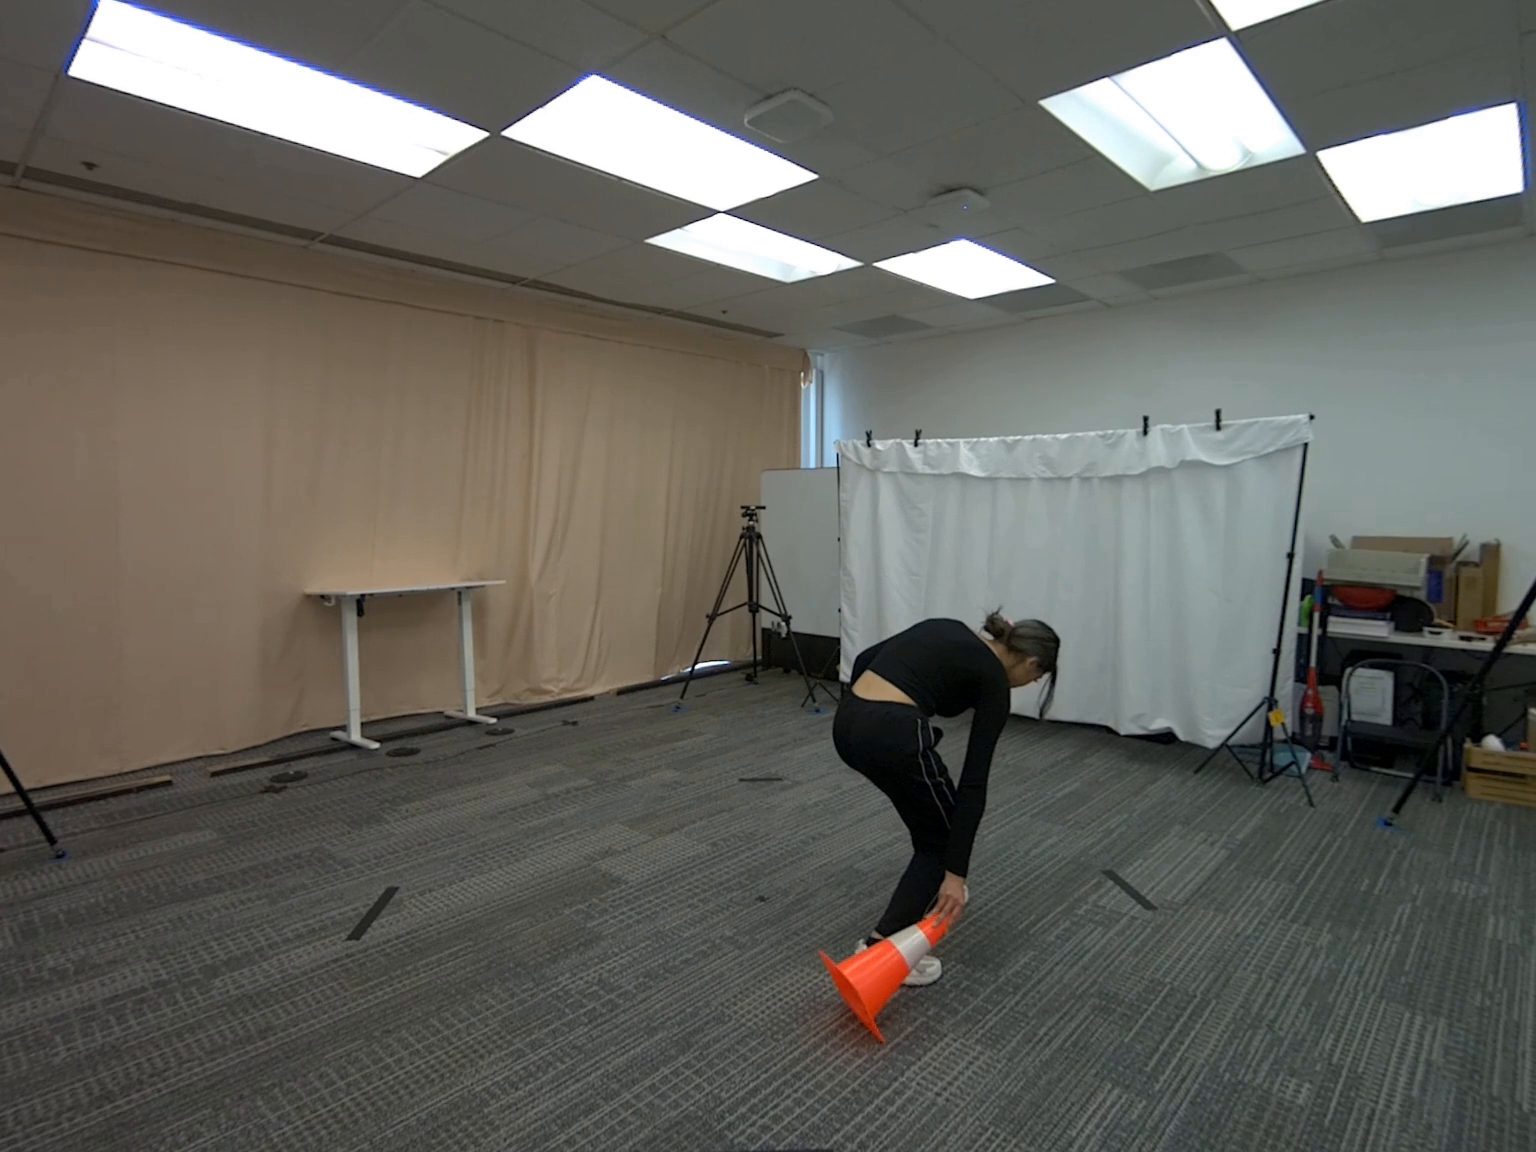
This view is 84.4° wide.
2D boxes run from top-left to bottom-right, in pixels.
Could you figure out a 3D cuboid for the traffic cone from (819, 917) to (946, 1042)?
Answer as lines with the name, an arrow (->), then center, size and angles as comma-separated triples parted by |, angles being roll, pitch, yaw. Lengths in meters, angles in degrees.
traffic cone -> 0.377, 1.029, 2.292 | 0.380, 0.201, 0.209 | -30, 11, -17
